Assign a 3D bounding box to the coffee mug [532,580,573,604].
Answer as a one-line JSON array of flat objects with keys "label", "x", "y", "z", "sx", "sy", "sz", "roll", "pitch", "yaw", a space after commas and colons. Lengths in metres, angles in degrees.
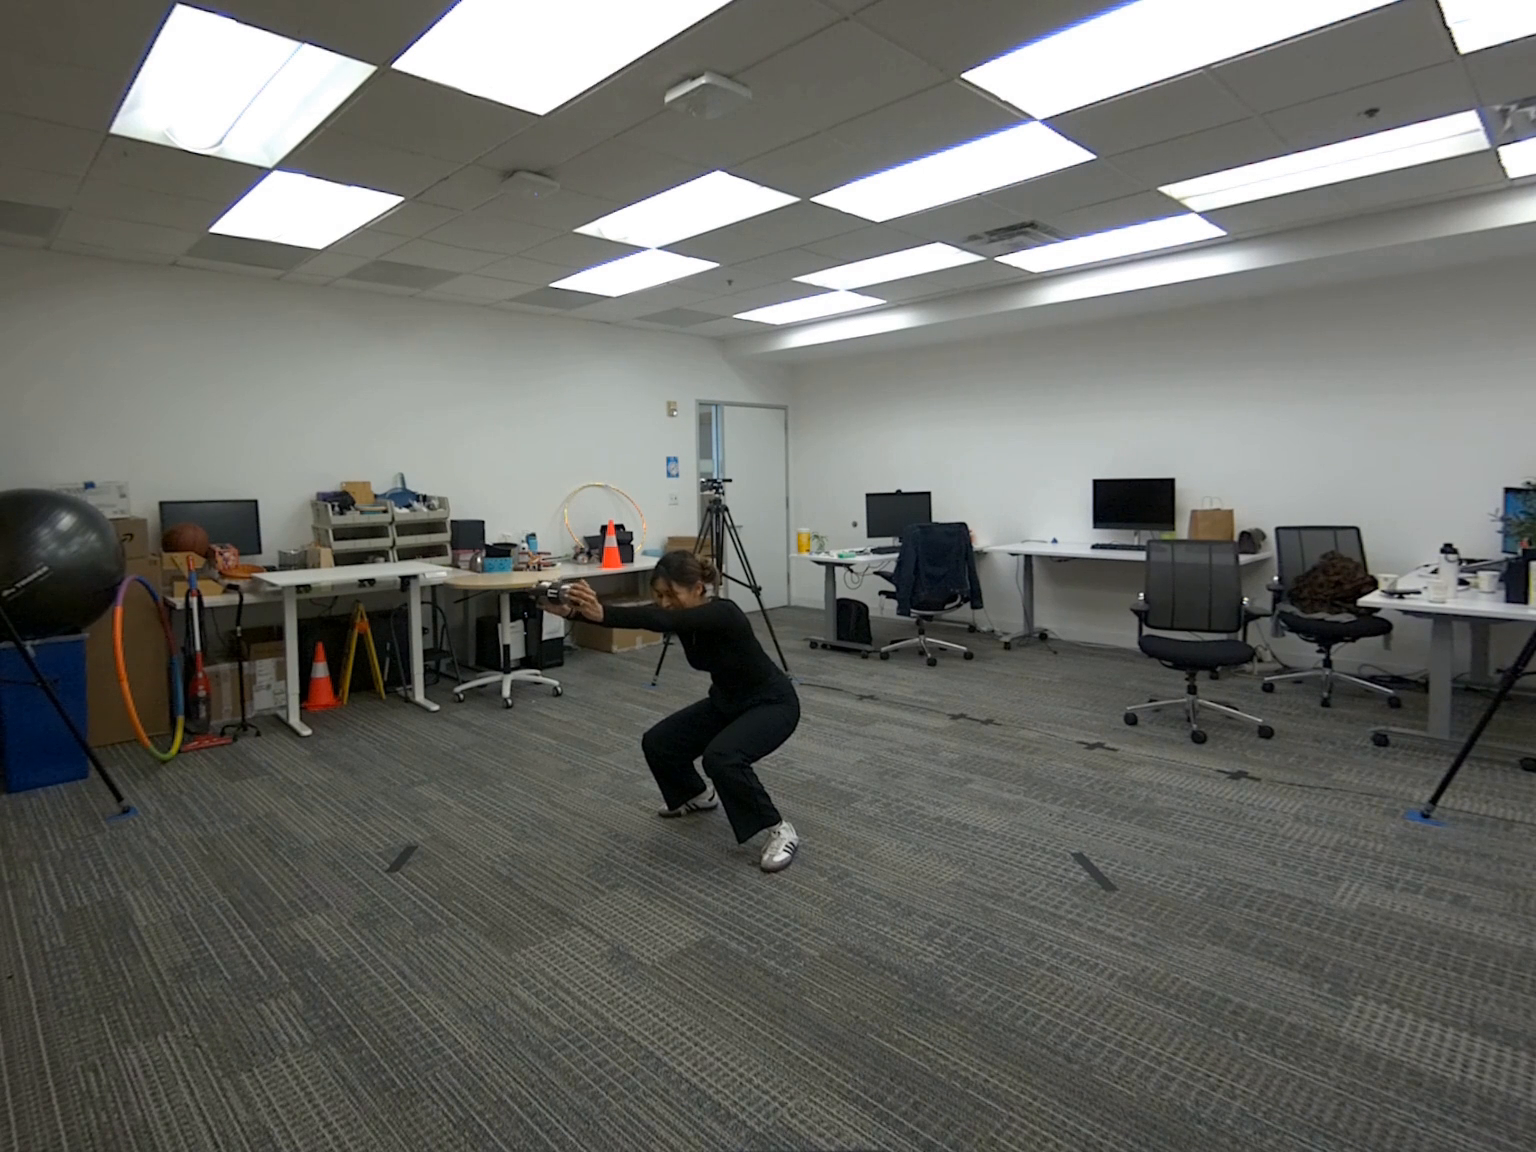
[{"label": "coffee mug", "x": -0.688, "y": 0.084, "z": 2.805, "sx": 0.120, "sy": 0.087, "sz": 0.209, "roll": -19, "pitch": 16, "yaw": -41}]
